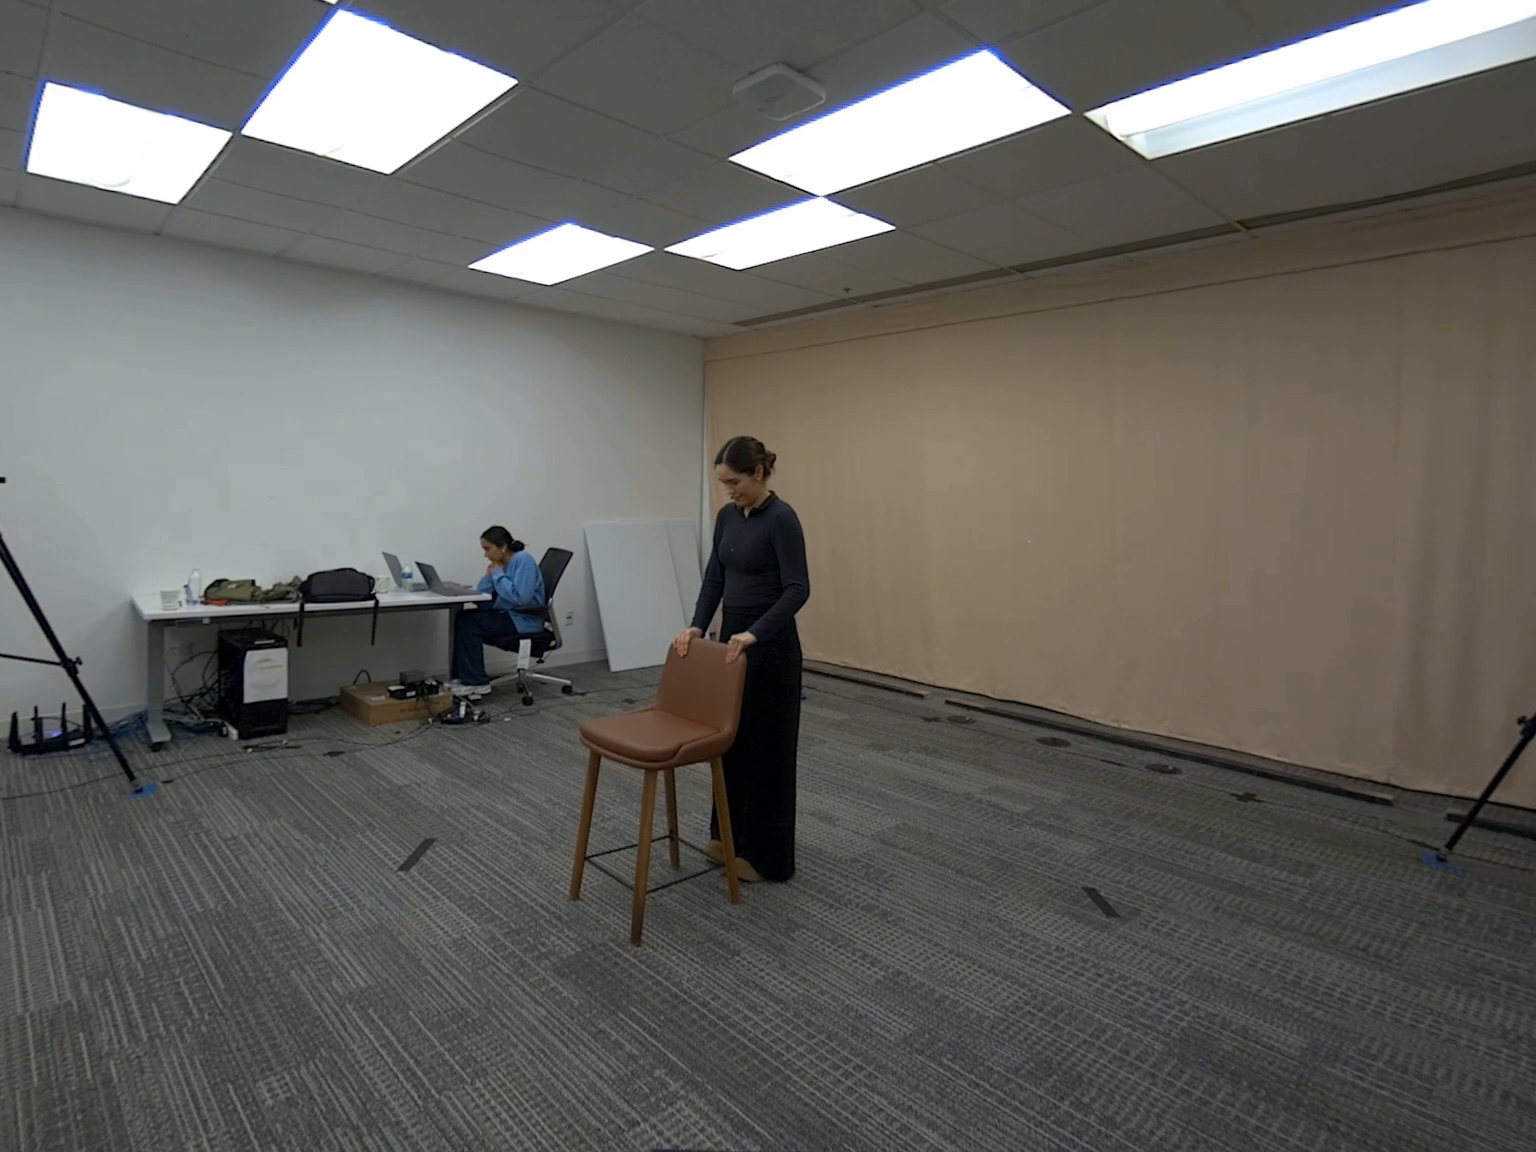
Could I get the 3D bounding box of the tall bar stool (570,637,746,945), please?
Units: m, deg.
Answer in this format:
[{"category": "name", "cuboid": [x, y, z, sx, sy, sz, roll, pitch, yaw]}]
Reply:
[{"category": "tall bar stool", "cuboid": [-0.371, 0.681, 2.866, 0.456, 0.888, 0.468, 1, 3, -41]}]
